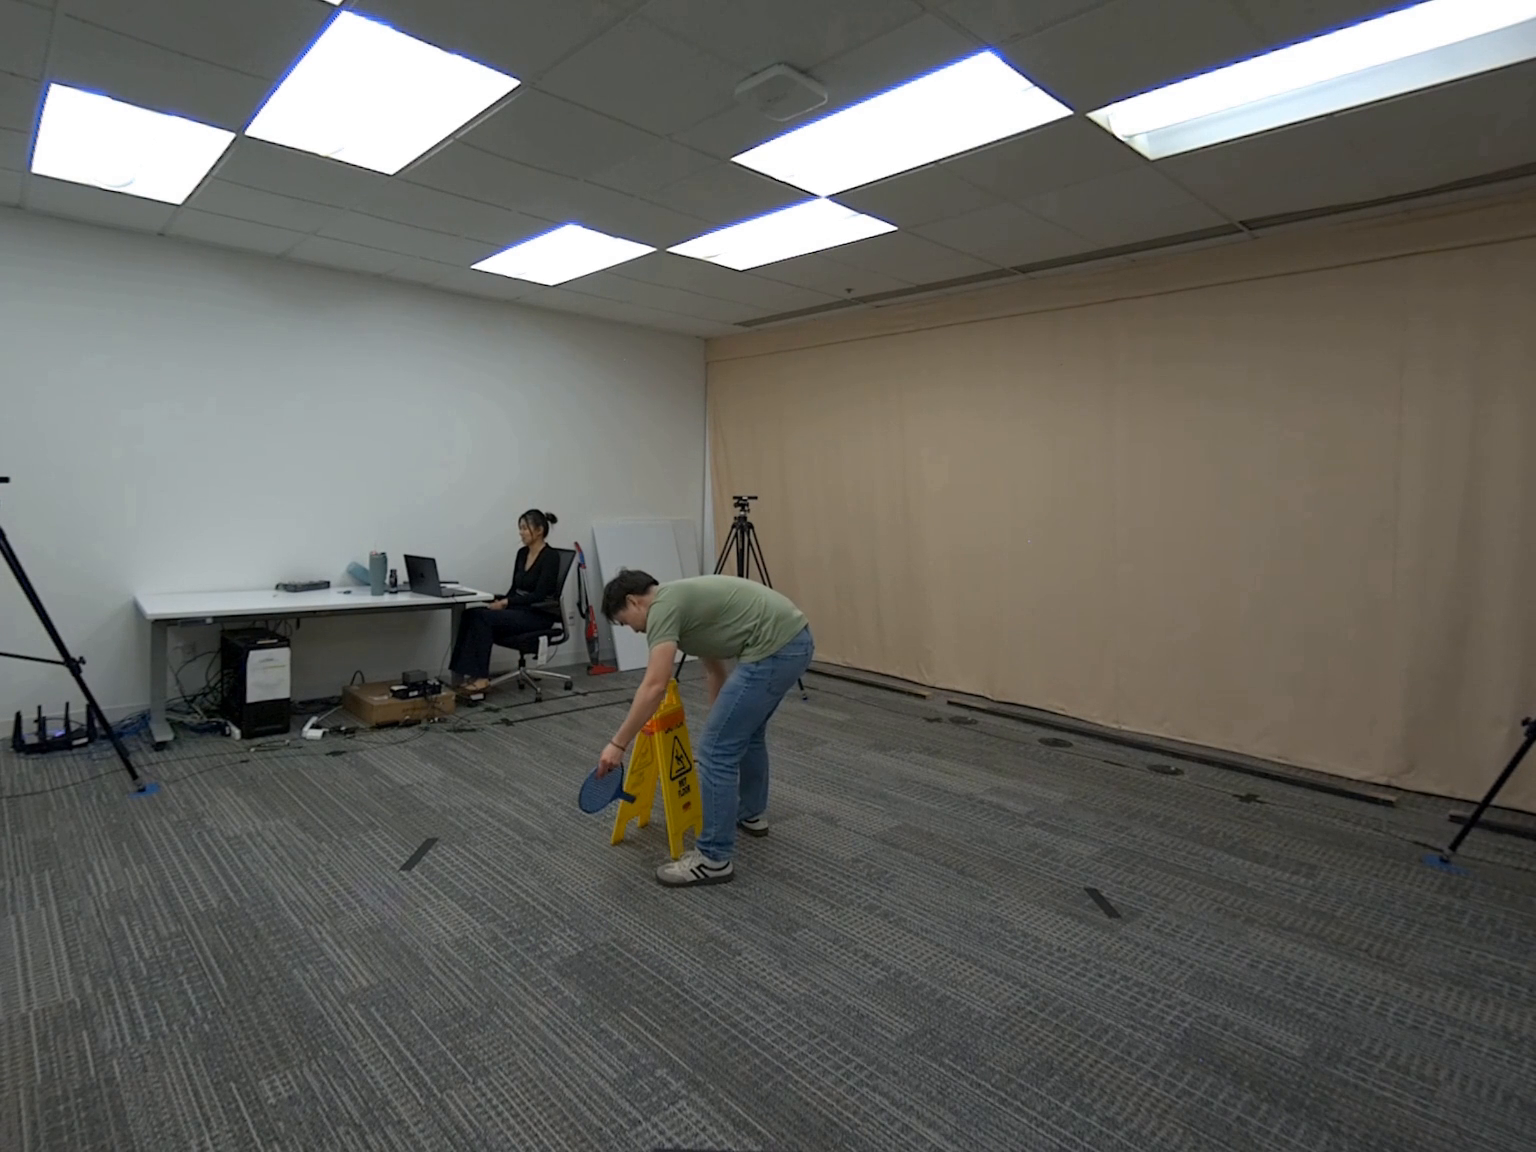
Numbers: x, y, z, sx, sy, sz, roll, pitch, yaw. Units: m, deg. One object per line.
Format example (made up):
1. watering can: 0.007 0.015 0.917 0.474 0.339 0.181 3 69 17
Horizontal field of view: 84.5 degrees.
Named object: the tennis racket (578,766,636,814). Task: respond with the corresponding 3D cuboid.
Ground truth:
1. tennis racket: -0.569 0.784 3.058 0.032 0.214 0.421 22 -19 22
